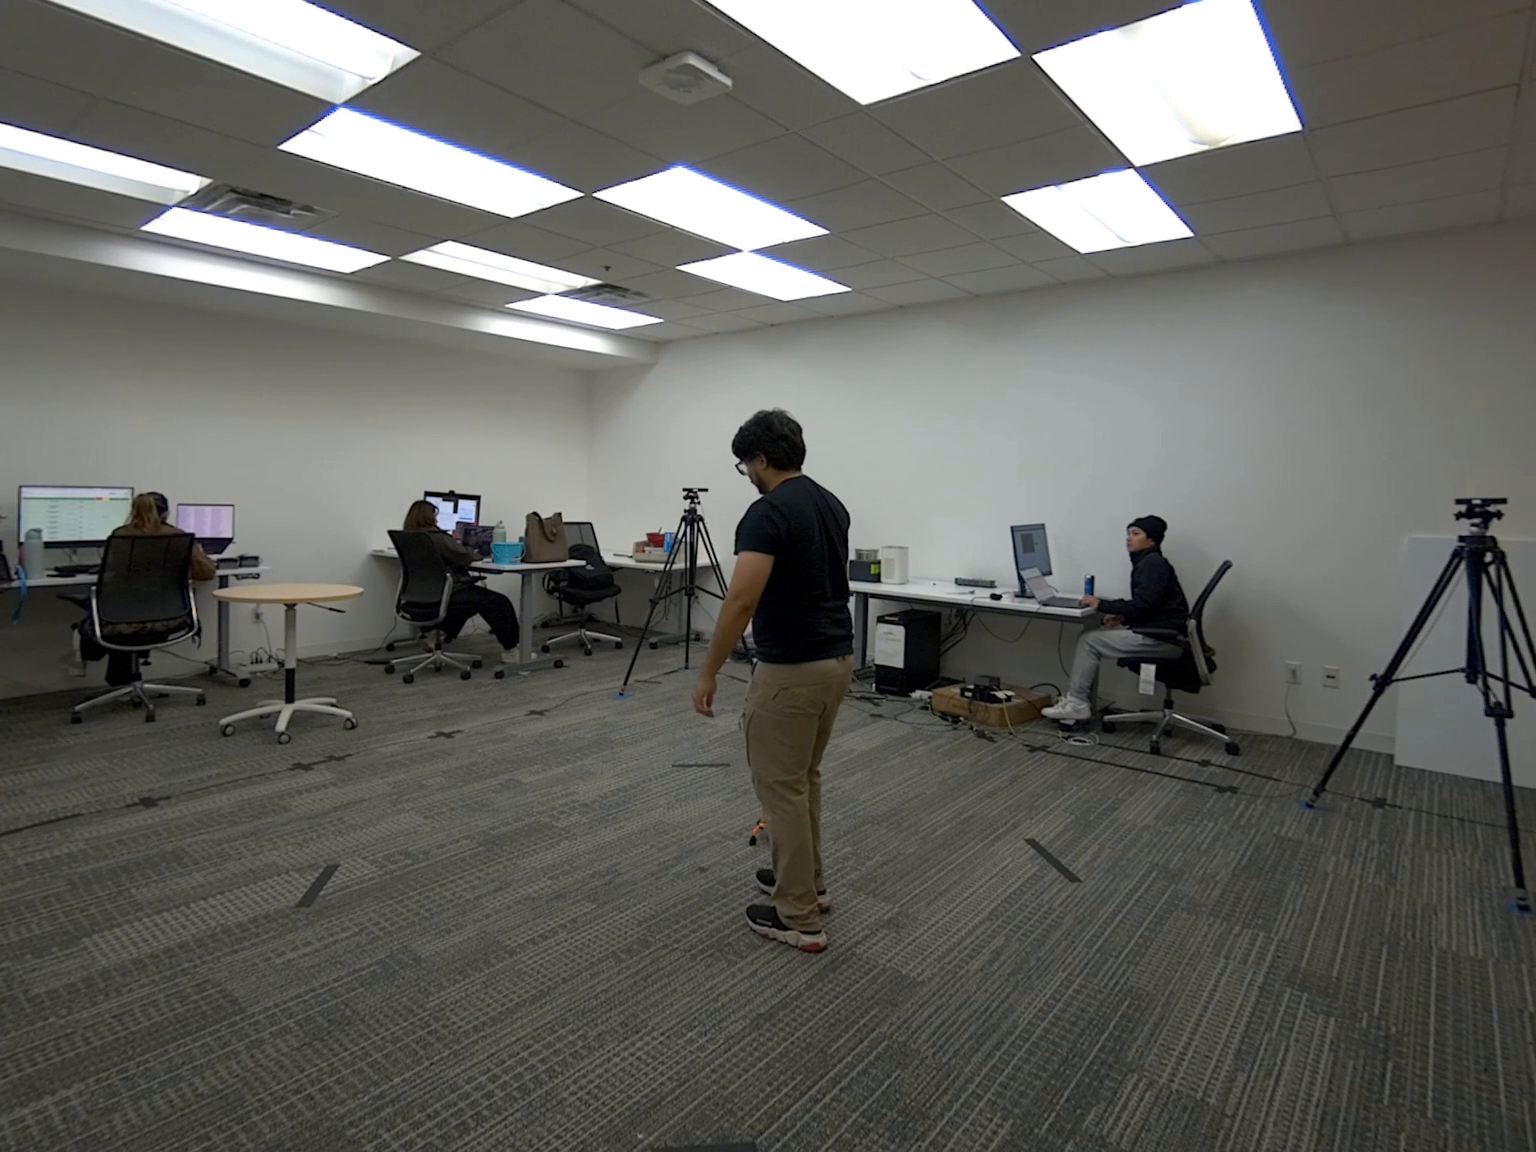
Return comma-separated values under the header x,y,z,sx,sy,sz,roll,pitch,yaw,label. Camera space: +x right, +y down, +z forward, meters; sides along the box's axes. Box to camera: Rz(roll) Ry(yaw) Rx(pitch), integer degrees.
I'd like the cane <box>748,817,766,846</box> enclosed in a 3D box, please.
x,y,z,sx,sy,sz,roll,pitch,yaw,label
0.017,0.586,3.392,0.153,0.905,0.205,1,3,9,cane
